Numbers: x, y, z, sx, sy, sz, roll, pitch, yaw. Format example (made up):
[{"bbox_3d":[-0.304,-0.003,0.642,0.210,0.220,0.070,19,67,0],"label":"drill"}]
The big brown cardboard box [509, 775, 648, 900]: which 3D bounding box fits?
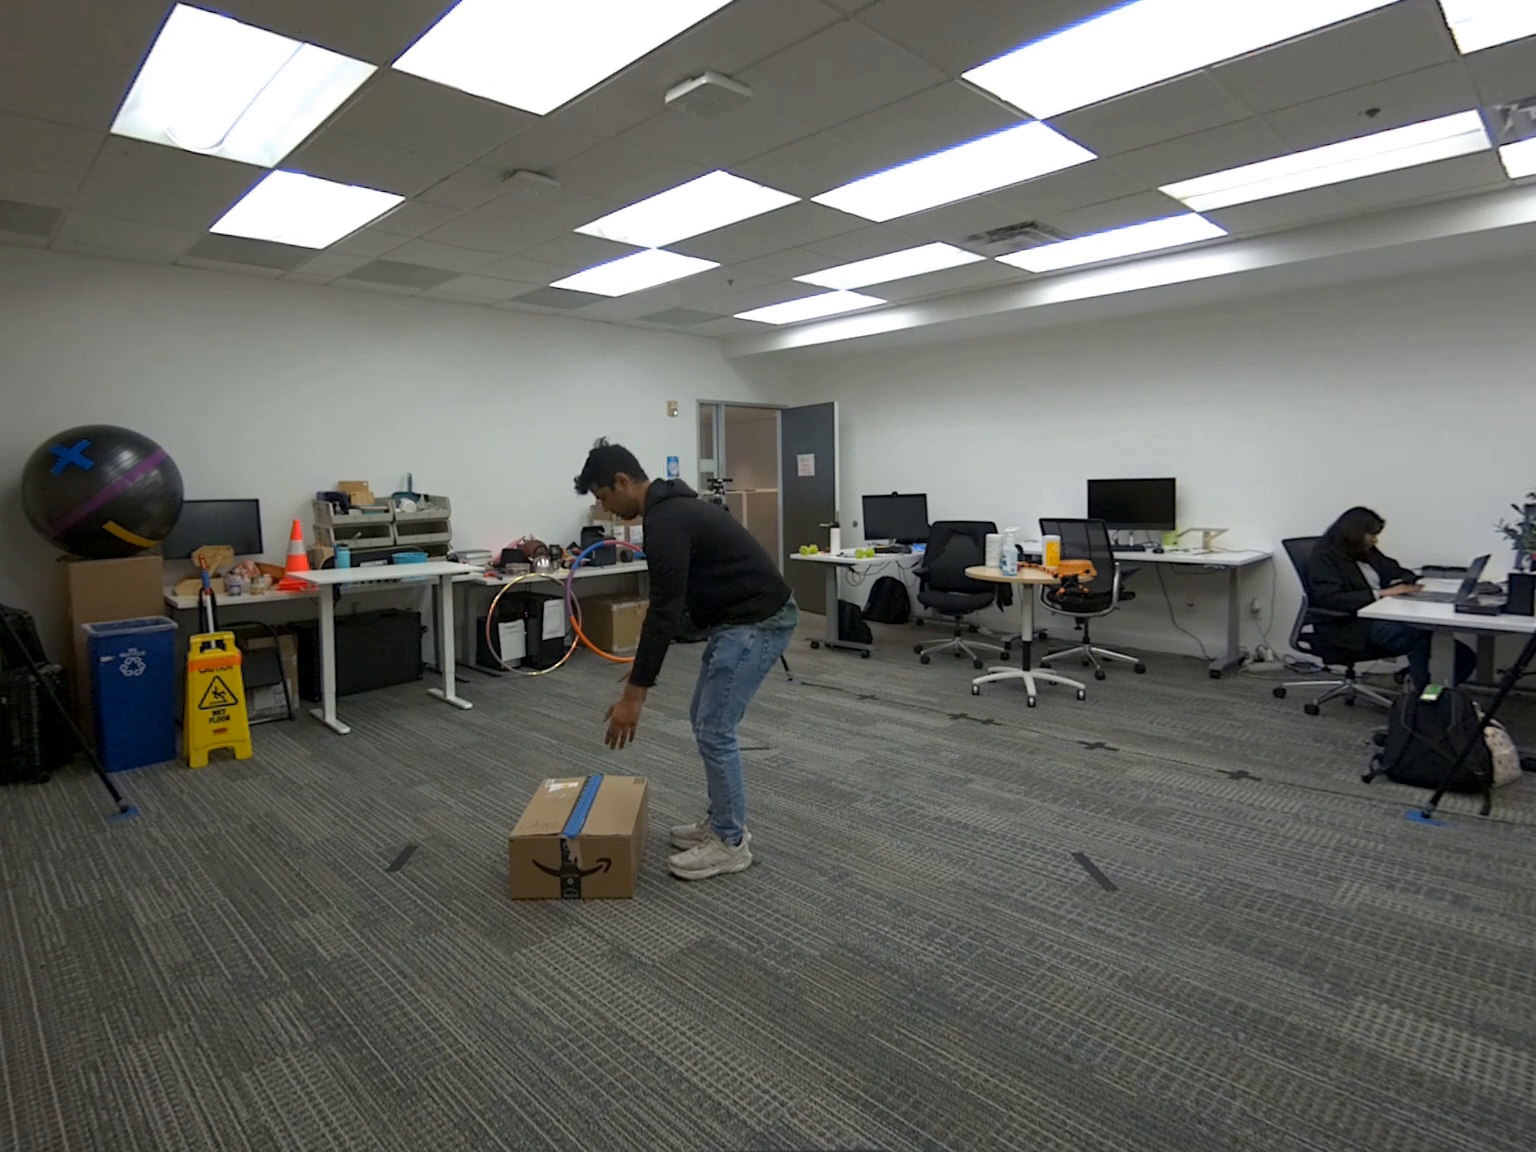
[{"bbox_3d":[-0.674,0.943,3.141,0.417,0.232,0.593,-2,7,-2],"label":"big brown cardboard box"}]
